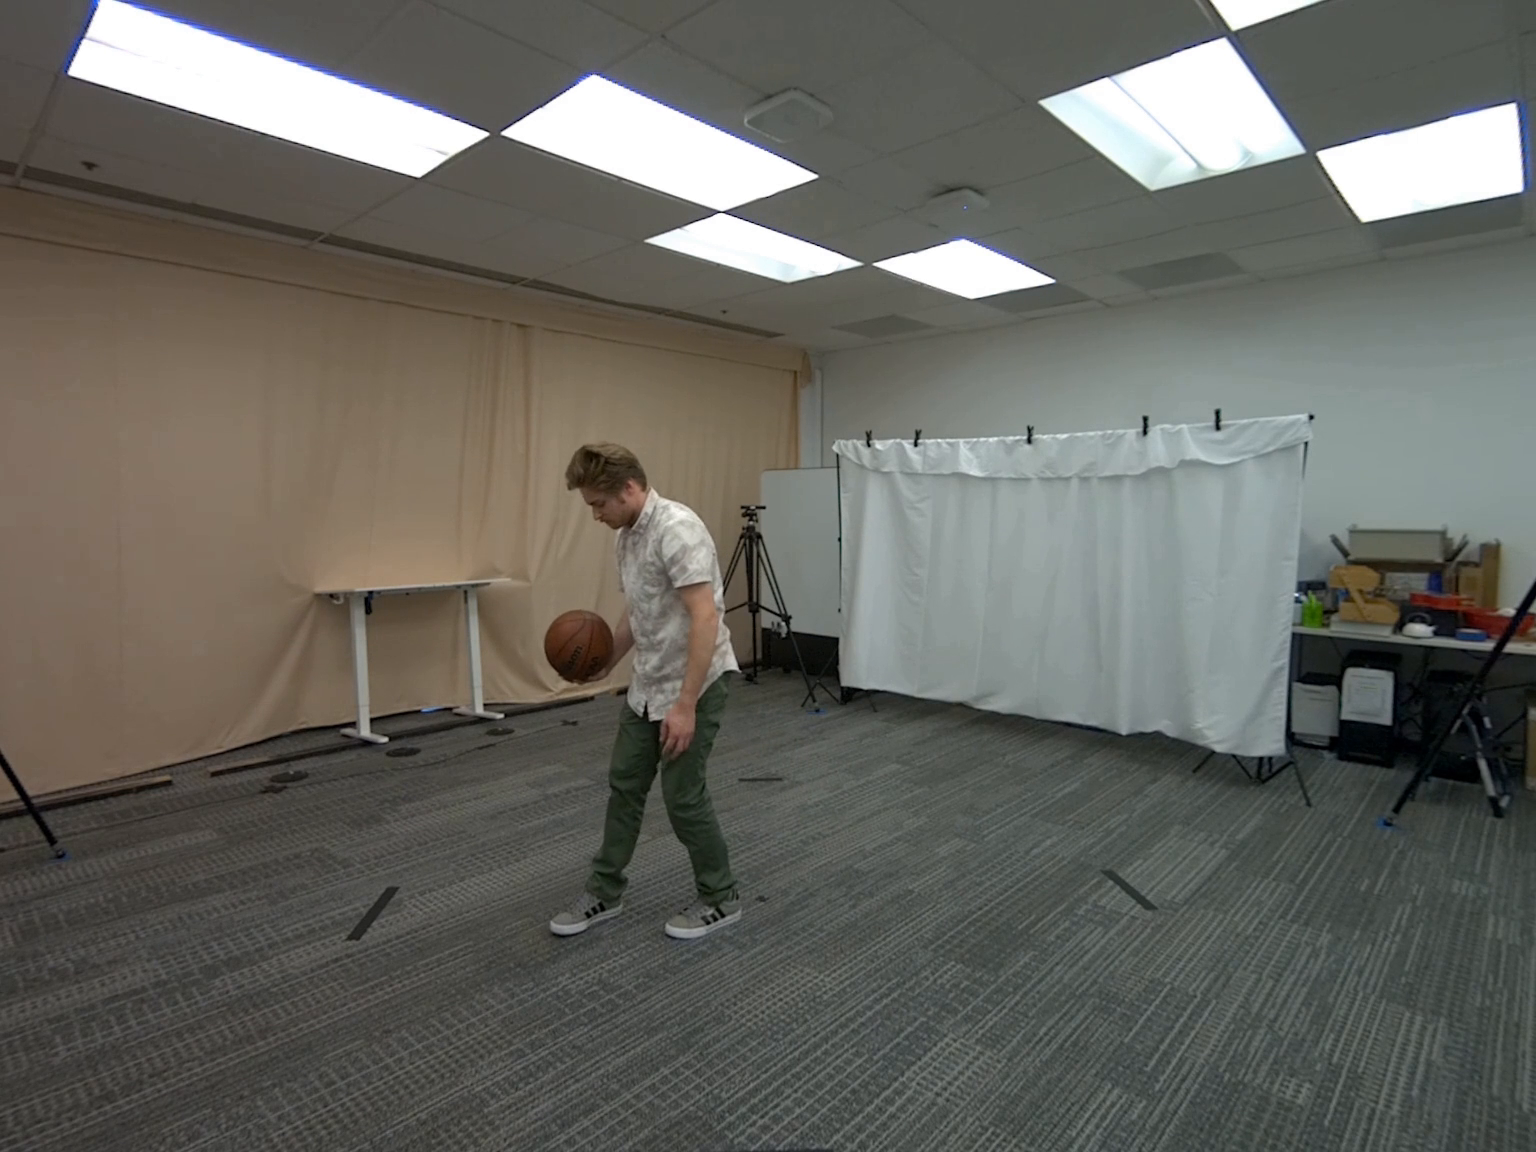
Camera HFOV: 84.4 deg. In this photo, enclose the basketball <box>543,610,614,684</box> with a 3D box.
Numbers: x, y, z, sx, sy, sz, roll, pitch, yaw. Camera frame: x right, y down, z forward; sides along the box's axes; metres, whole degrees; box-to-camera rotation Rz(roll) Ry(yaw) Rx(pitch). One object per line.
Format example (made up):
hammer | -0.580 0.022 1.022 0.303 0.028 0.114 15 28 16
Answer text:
basketball | -0.647 0.236 2.914 0.236 0.235 0.237 0 4 -2
